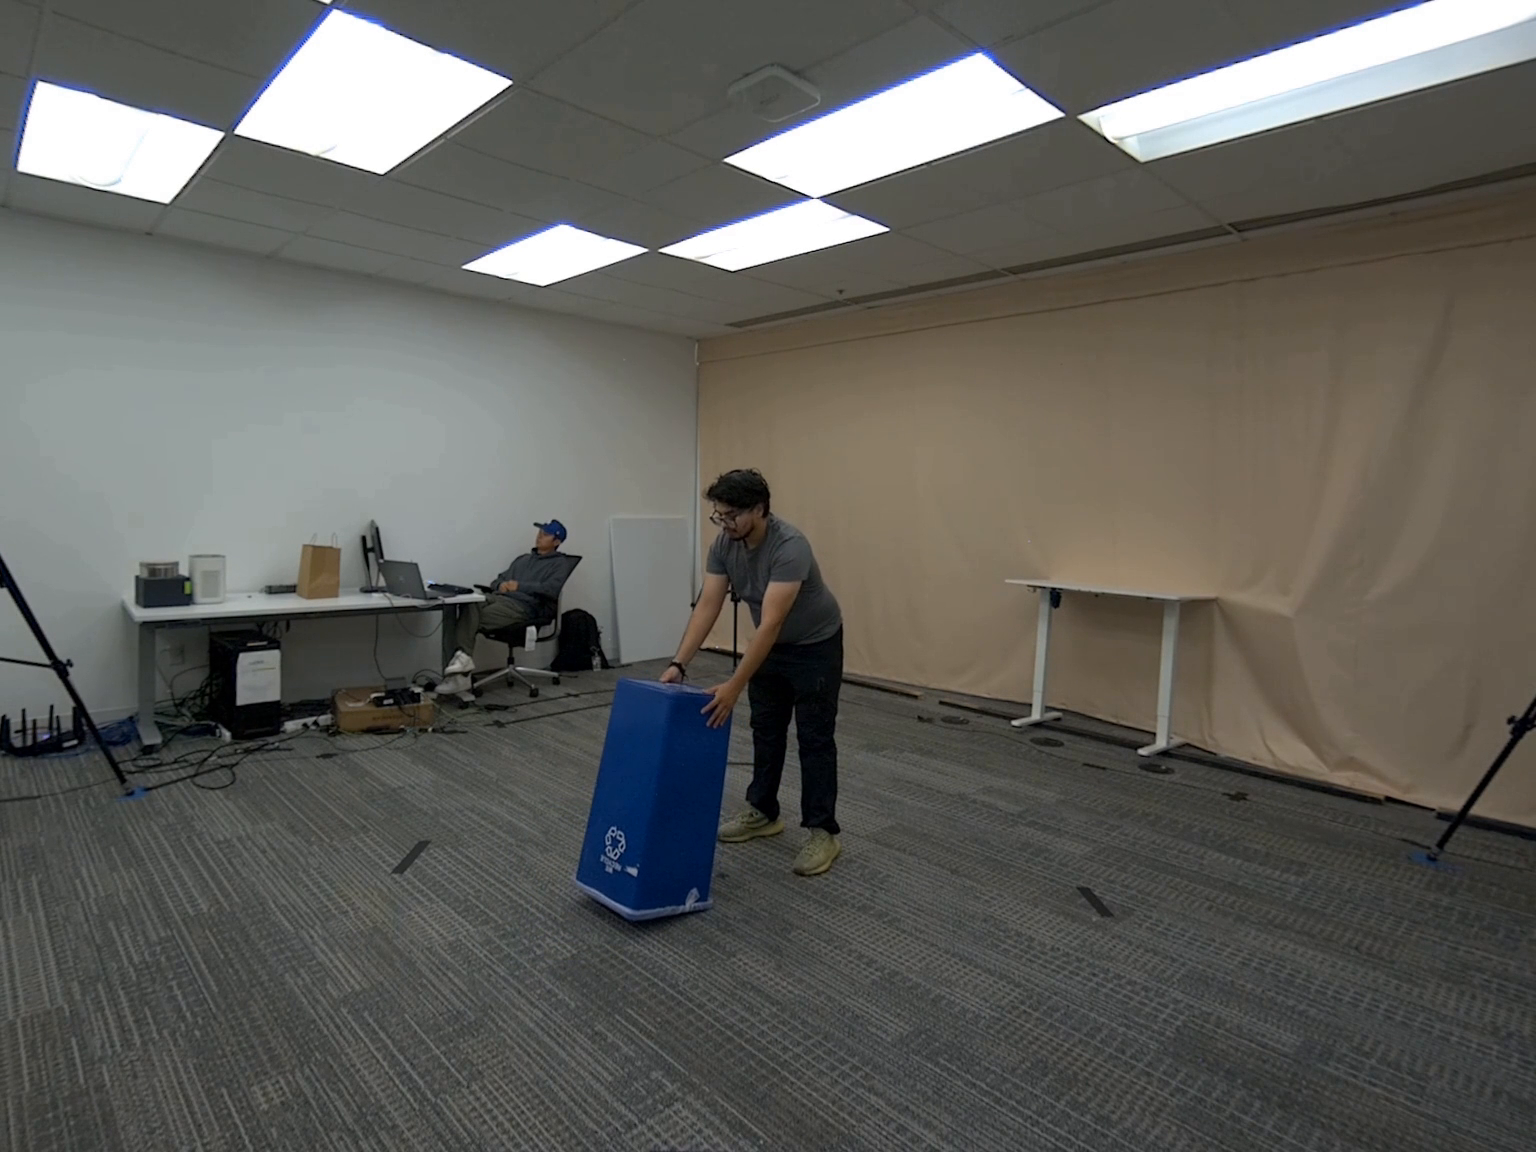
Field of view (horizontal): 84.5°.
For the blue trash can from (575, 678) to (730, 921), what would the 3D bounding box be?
[{"bbox_3d":[-0.387,0.740,2.906,0.383,0.716,0.367,4,-7,44],"label":"blue trash can"}]
